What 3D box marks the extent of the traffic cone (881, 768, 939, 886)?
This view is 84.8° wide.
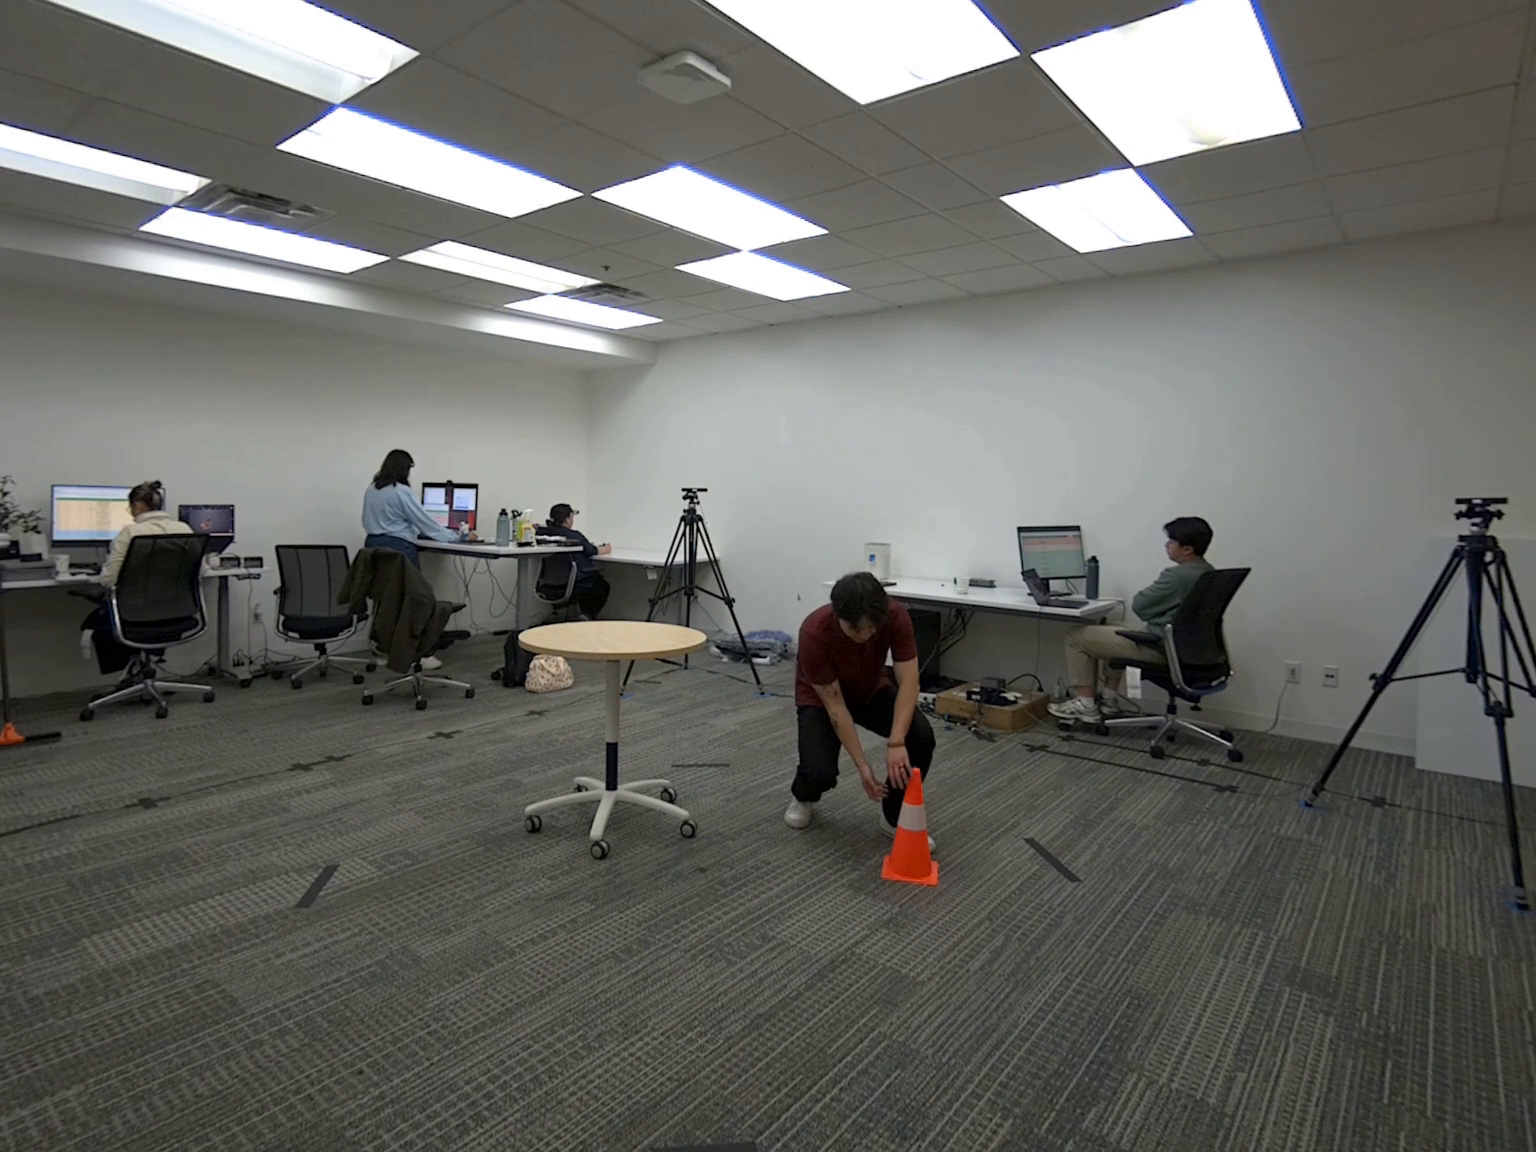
[{"bbox_3d":[0.530,0.896,3.144,0.207,0.382,0.202,4,4,13],"label":"traffic cone"}]
